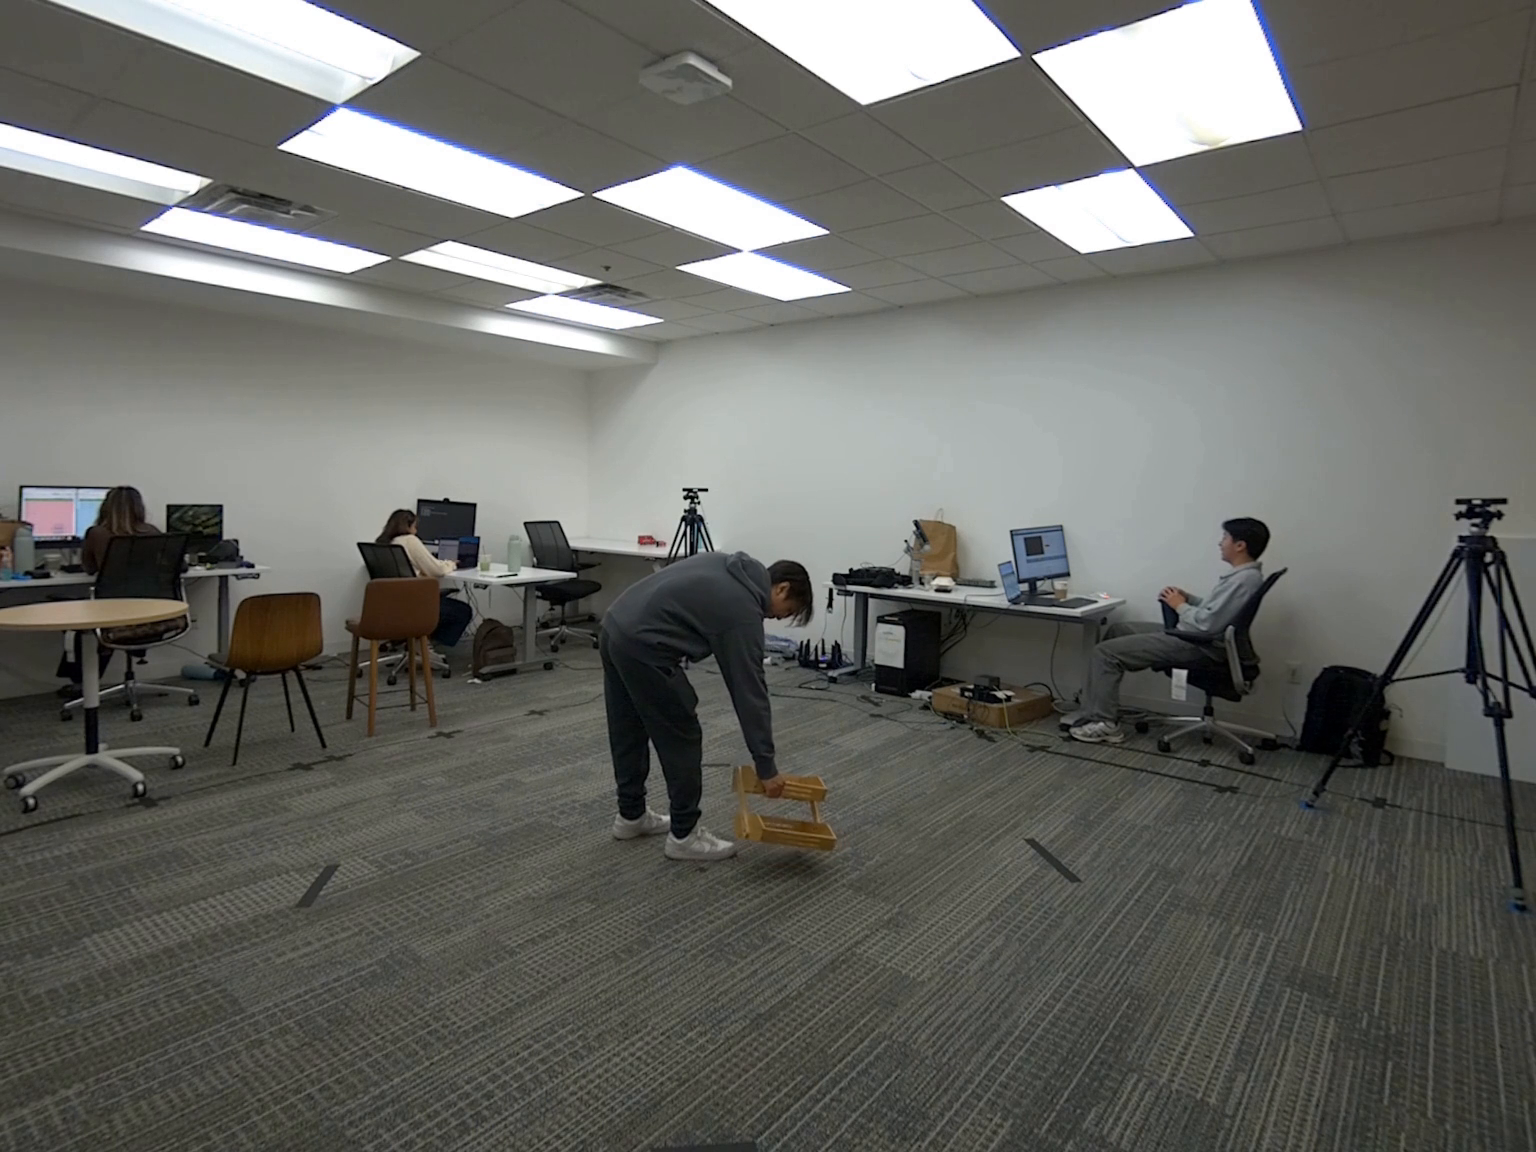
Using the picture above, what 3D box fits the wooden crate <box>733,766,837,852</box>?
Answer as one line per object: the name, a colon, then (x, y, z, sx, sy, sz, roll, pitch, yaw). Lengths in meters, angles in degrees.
wooden crate: (0.048, 0.860, 3.181, 0.316, 0.277, 0.306, 14, -19, -23)
